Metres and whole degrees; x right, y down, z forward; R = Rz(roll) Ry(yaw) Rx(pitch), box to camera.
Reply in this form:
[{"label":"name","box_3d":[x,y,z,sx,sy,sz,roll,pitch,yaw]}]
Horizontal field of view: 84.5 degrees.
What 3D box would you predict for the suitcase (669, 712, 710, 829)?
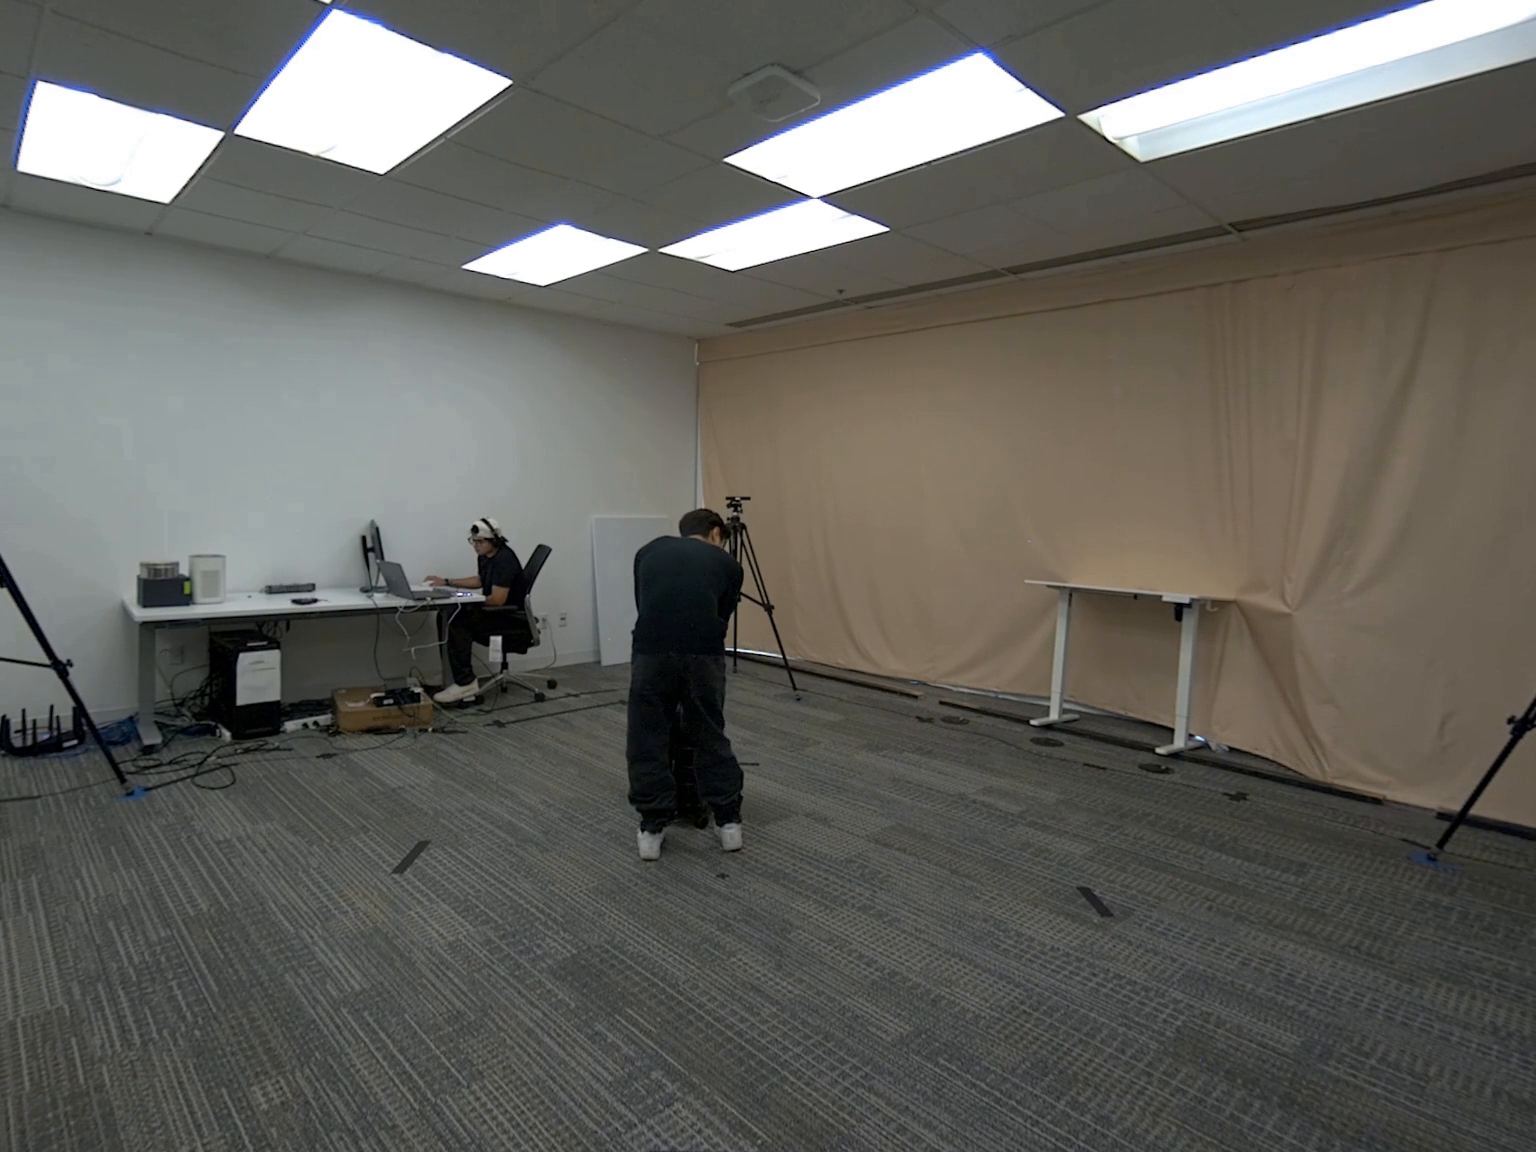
[{"label":"suitcase","box_3d":[-0.367,0.776,3.707,0.251,0.548,0.372,3,4,14]}]
